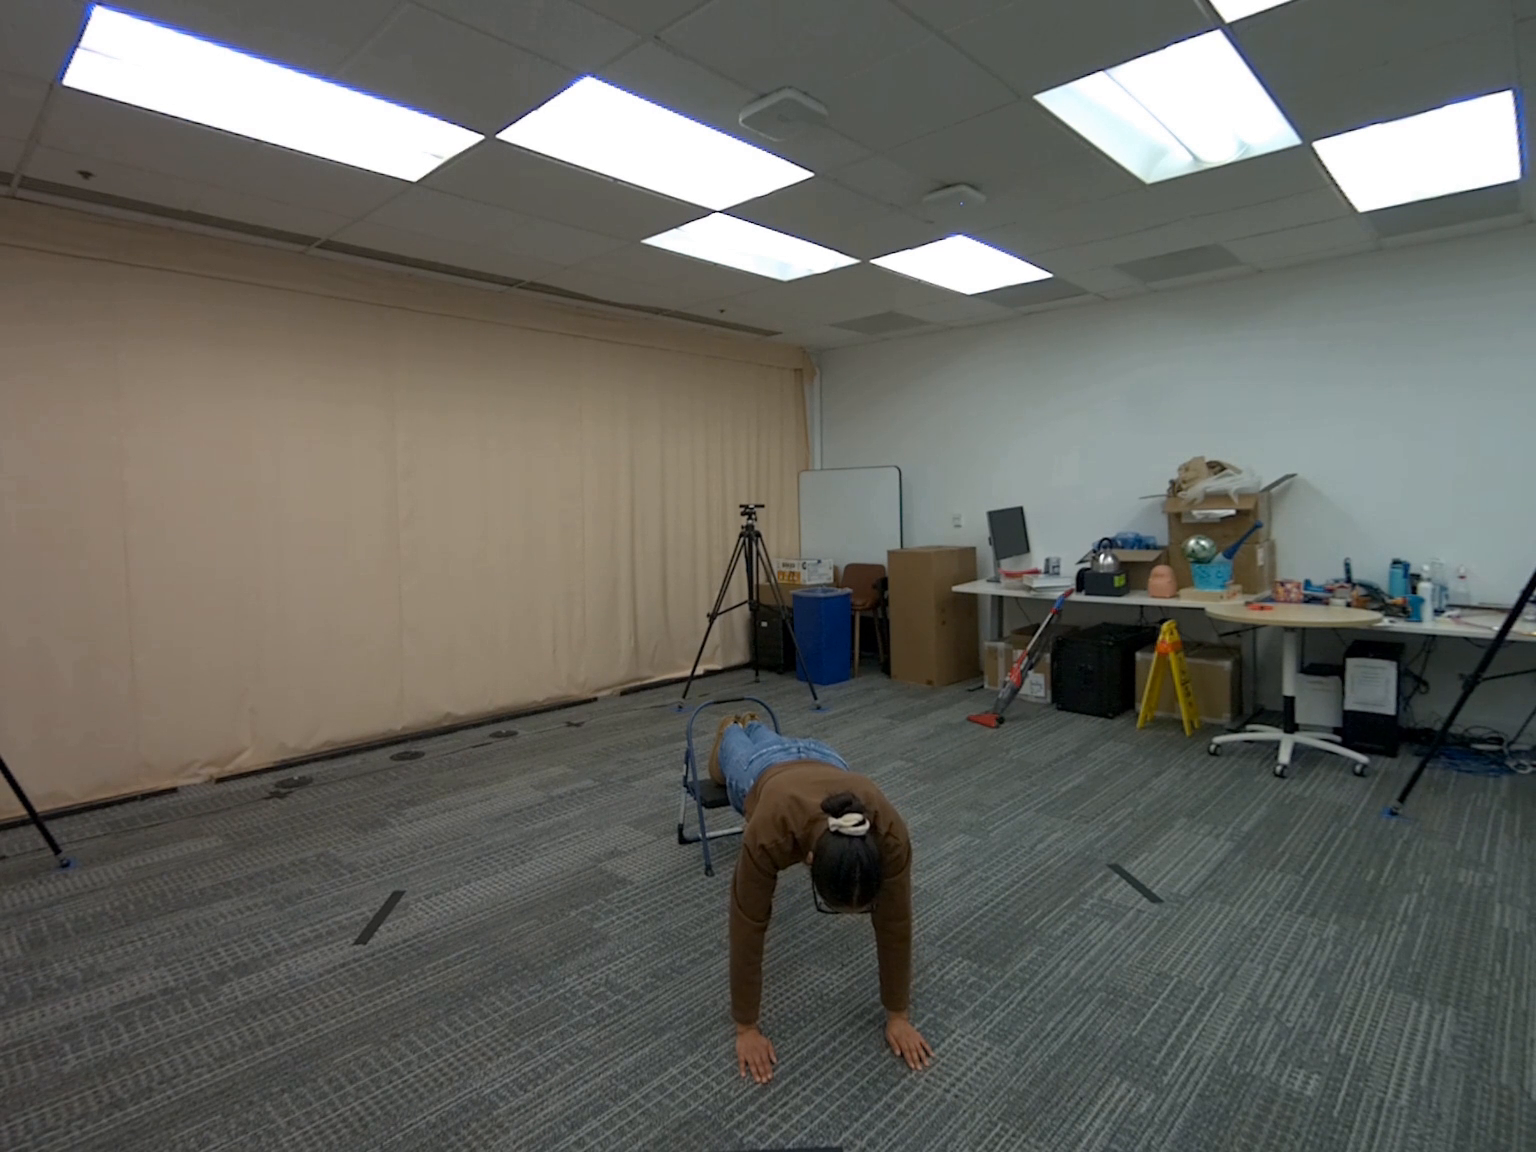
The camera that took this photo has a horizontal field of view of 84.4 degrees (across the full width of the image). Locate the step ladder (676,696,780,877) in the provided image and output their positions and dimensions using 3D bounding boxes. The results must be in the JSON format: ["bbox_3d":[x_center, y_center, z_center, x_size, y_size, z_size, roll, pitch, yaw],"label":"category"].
[{"bbox_3d":[-0.118,0.807,3.390,0.420,0.605,0.358,-3,3,-25],"label":"step ladder"}]
